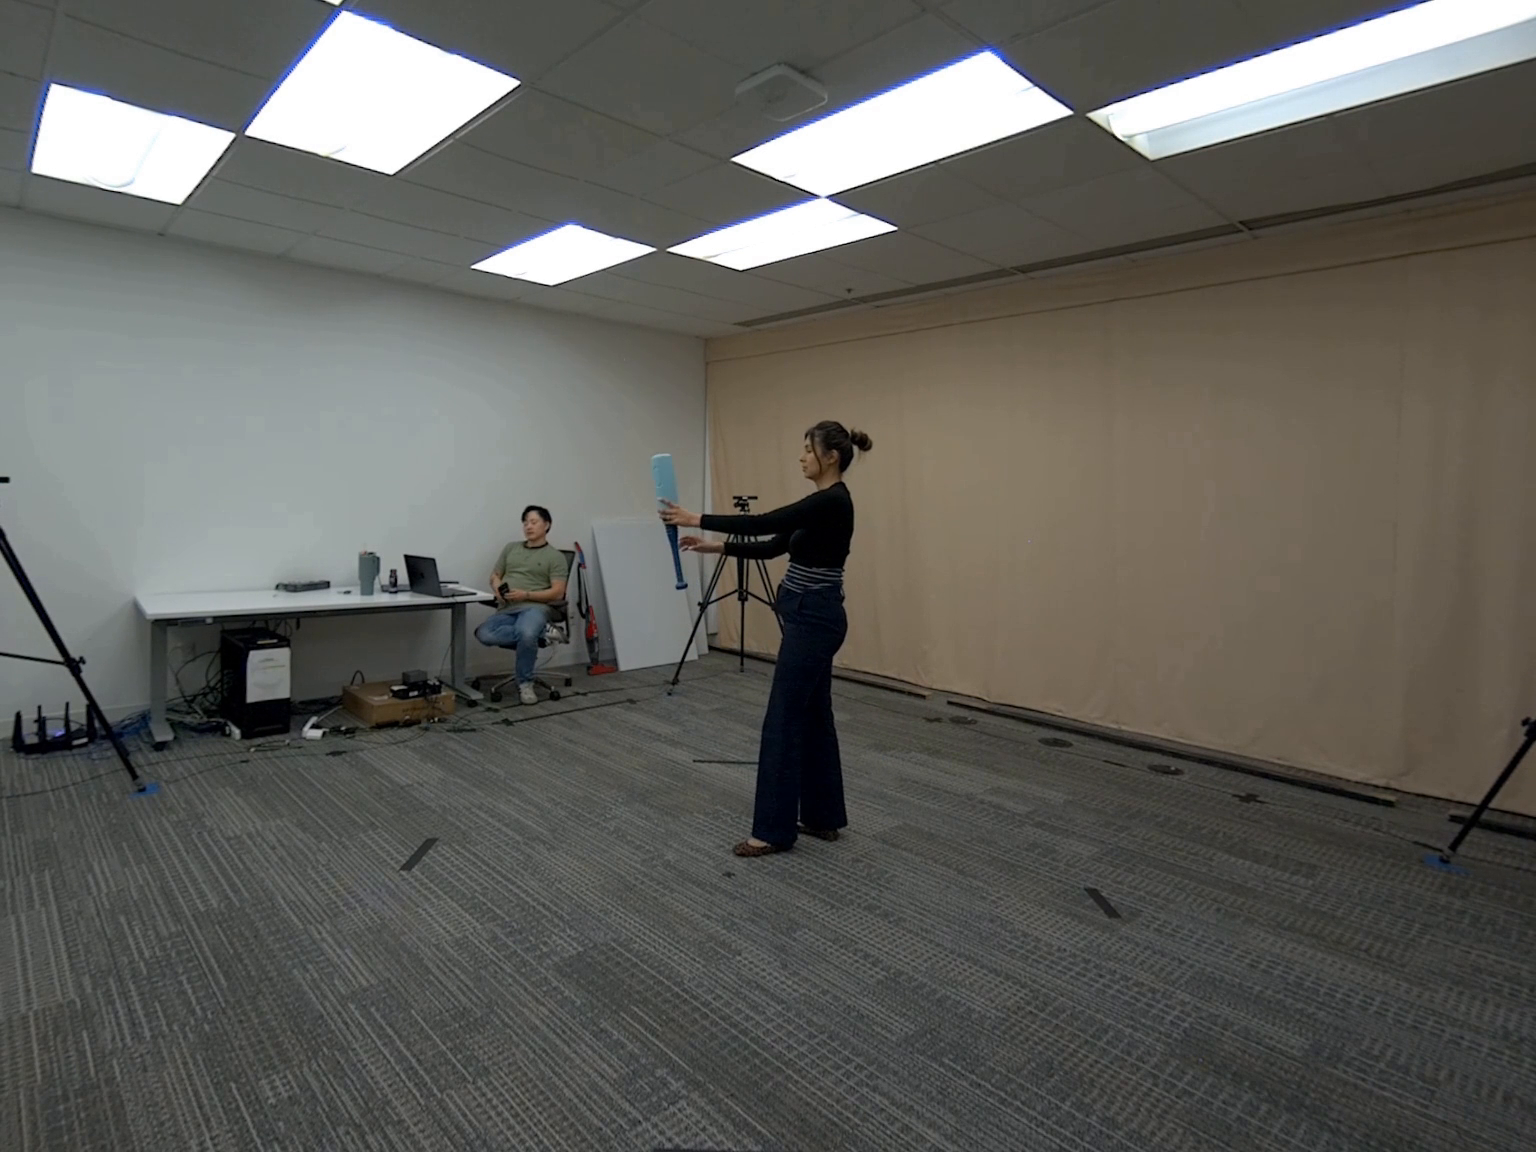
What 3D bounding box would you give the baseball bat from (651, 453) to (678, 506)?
[{"bbox_3d":[-0.396,-0.215,3.351,0.089,0.543,0.089,-7,-1,-1],"label":"baseball bat"}]
